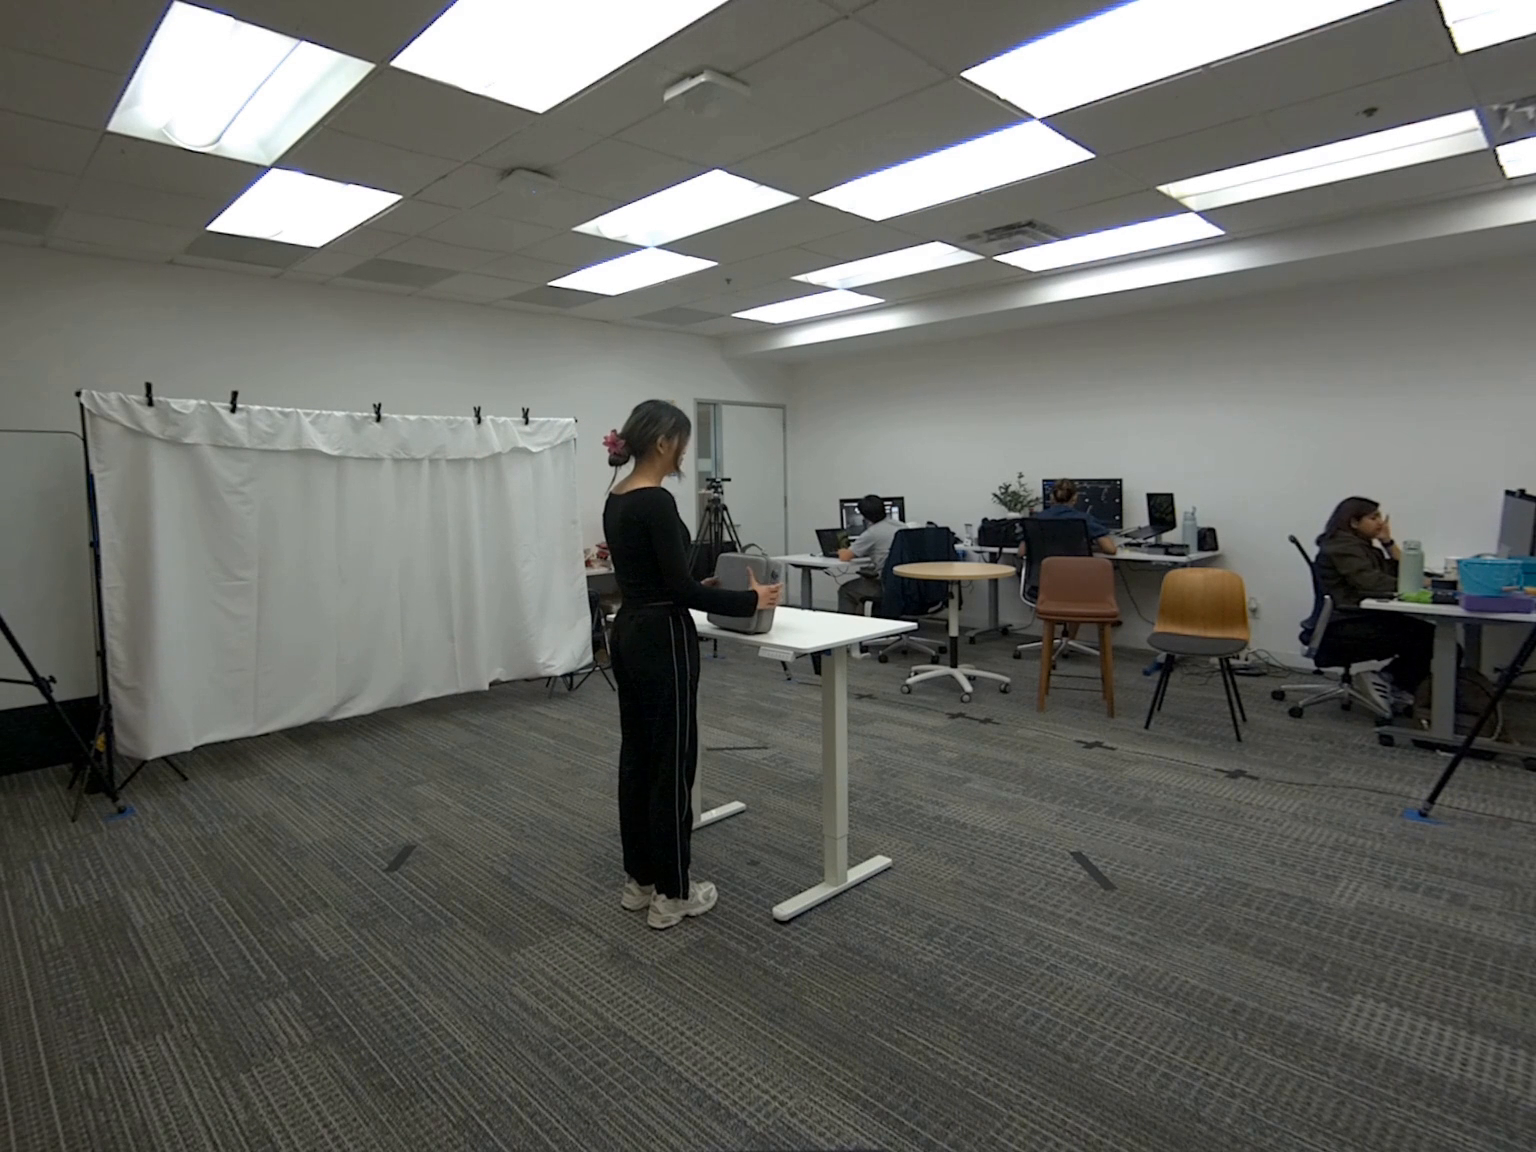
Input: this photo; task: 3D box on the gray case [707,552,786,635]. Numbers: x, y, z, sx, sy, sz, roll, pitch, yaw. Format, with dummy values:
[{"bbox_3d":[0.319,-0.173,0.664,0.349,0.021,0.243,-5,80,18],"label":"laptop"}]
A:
[{"bbox_3d":[-0.085,0.053,2.885,0.101,0.261,0.264,13,-4,-36],"label":"gray case"}]
